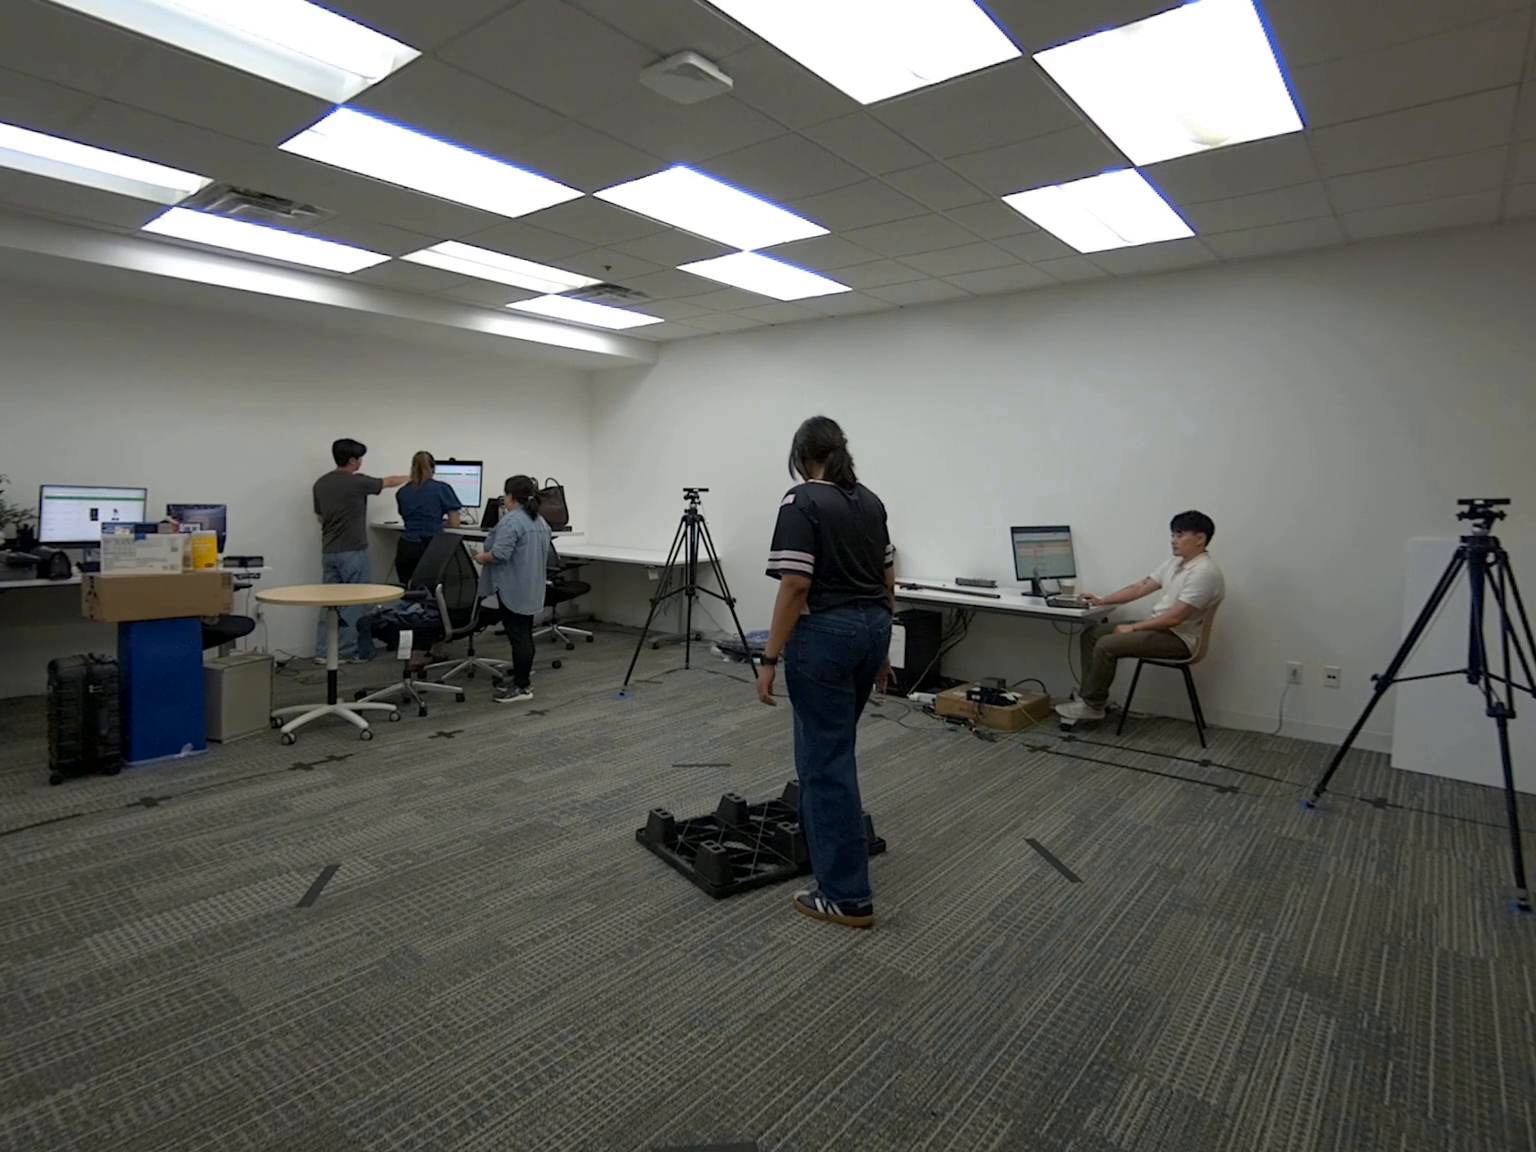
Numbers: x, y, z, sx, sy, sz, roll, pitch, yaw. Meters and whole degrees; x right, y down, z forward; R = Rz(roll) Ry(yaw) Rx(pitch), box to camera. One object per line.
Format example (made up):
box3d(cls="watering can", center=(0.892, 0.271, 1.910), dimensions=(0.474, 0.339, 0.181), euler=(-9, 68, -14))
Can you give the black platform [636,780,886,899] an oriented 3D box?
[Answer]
box3d(cls="black platform", center=(-0.043, 0.986, 3.324), dimensions=(0.782, 0.143, 0.625), euler=(-3, 6, -35))
